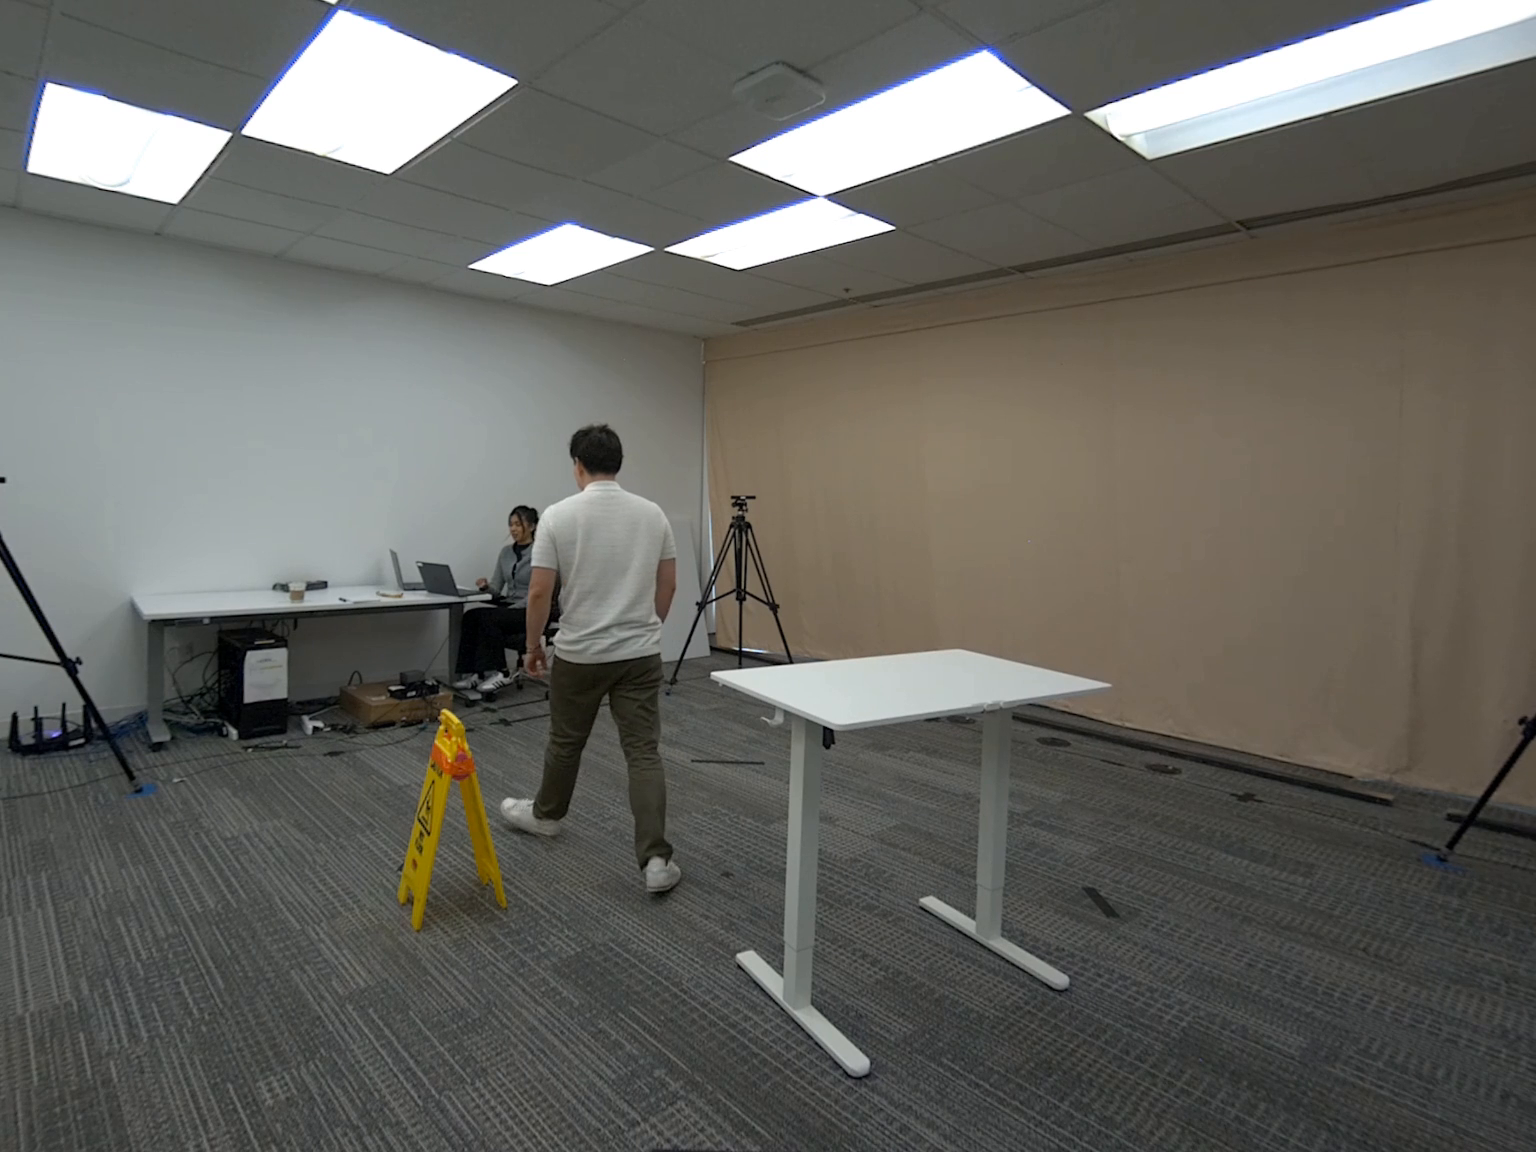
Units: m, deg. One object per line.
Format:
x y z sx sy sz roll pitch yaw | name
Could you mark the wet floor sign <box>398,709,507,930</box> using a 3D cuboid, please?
-1.073 0.789 2.824 0.283 0.644 0.289 -1 4 -34 | wet floor sign
